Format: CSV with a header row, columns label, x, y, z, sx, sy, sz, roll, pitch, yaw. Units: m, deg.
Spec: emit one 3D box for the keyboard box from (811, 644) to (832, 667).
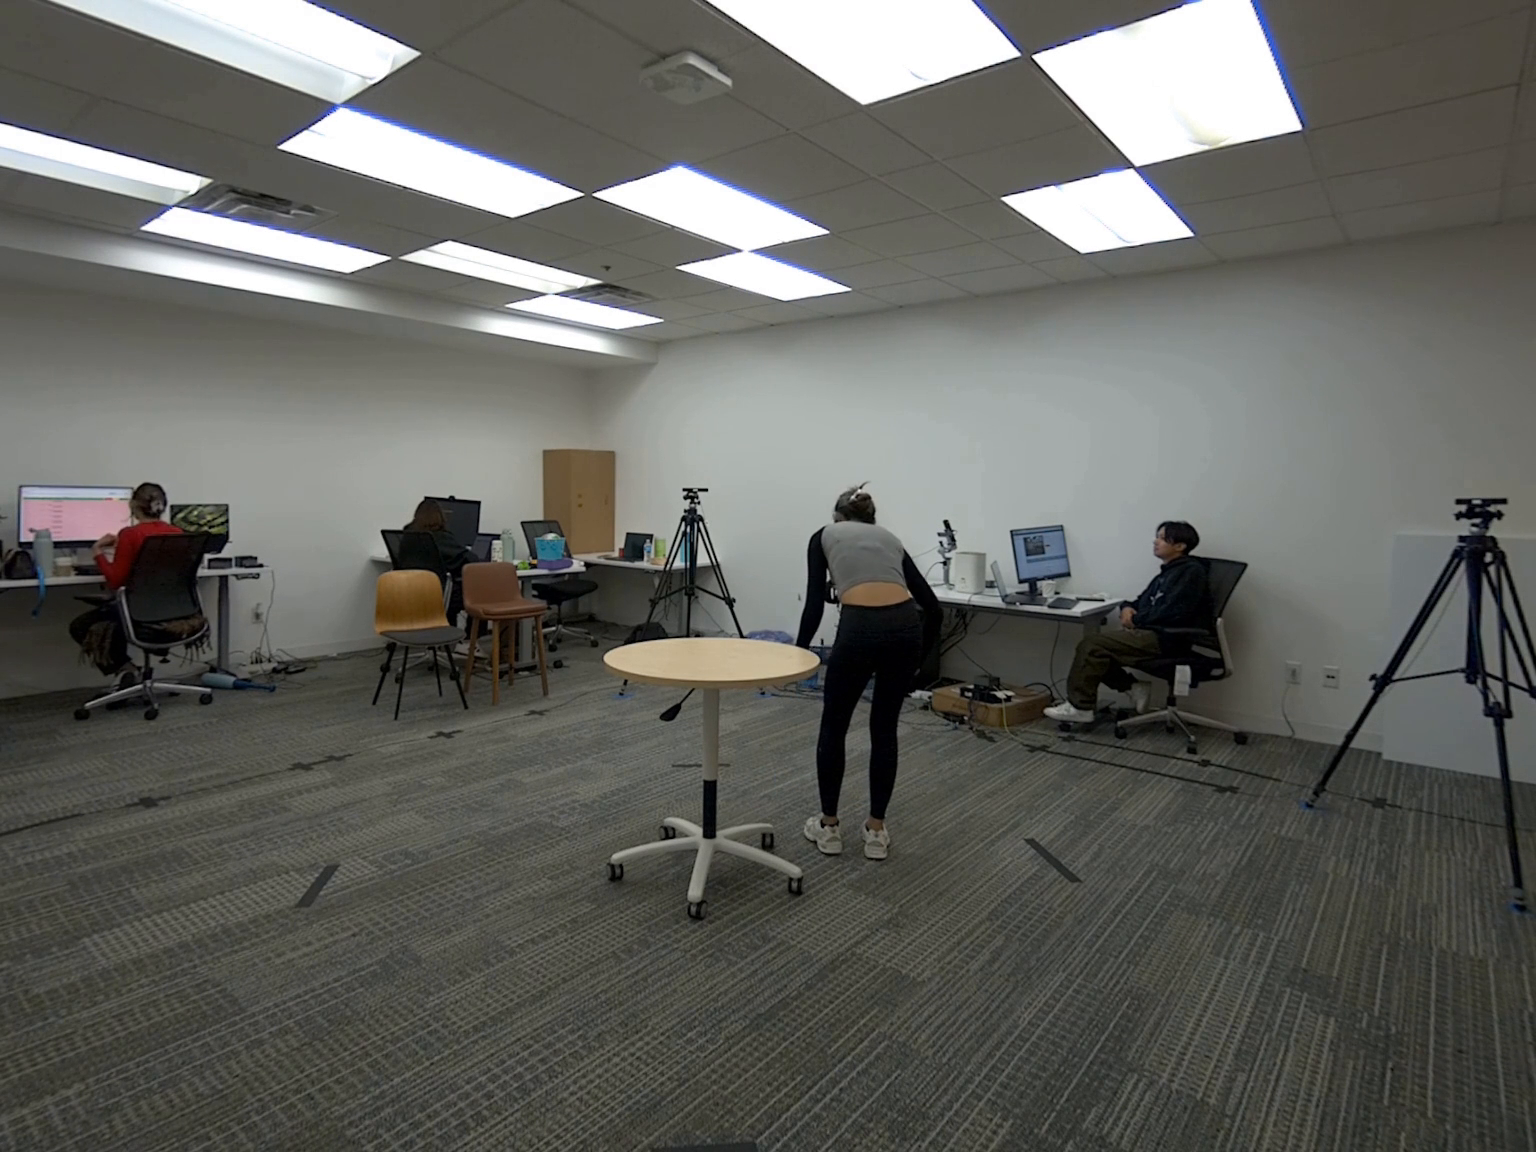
label,x,y,z,sx,sy,sz,roll,pitch,yaw
keyboard box,0.337,0.384,3.587,0.444,0.176,0.058,1,-4,15
